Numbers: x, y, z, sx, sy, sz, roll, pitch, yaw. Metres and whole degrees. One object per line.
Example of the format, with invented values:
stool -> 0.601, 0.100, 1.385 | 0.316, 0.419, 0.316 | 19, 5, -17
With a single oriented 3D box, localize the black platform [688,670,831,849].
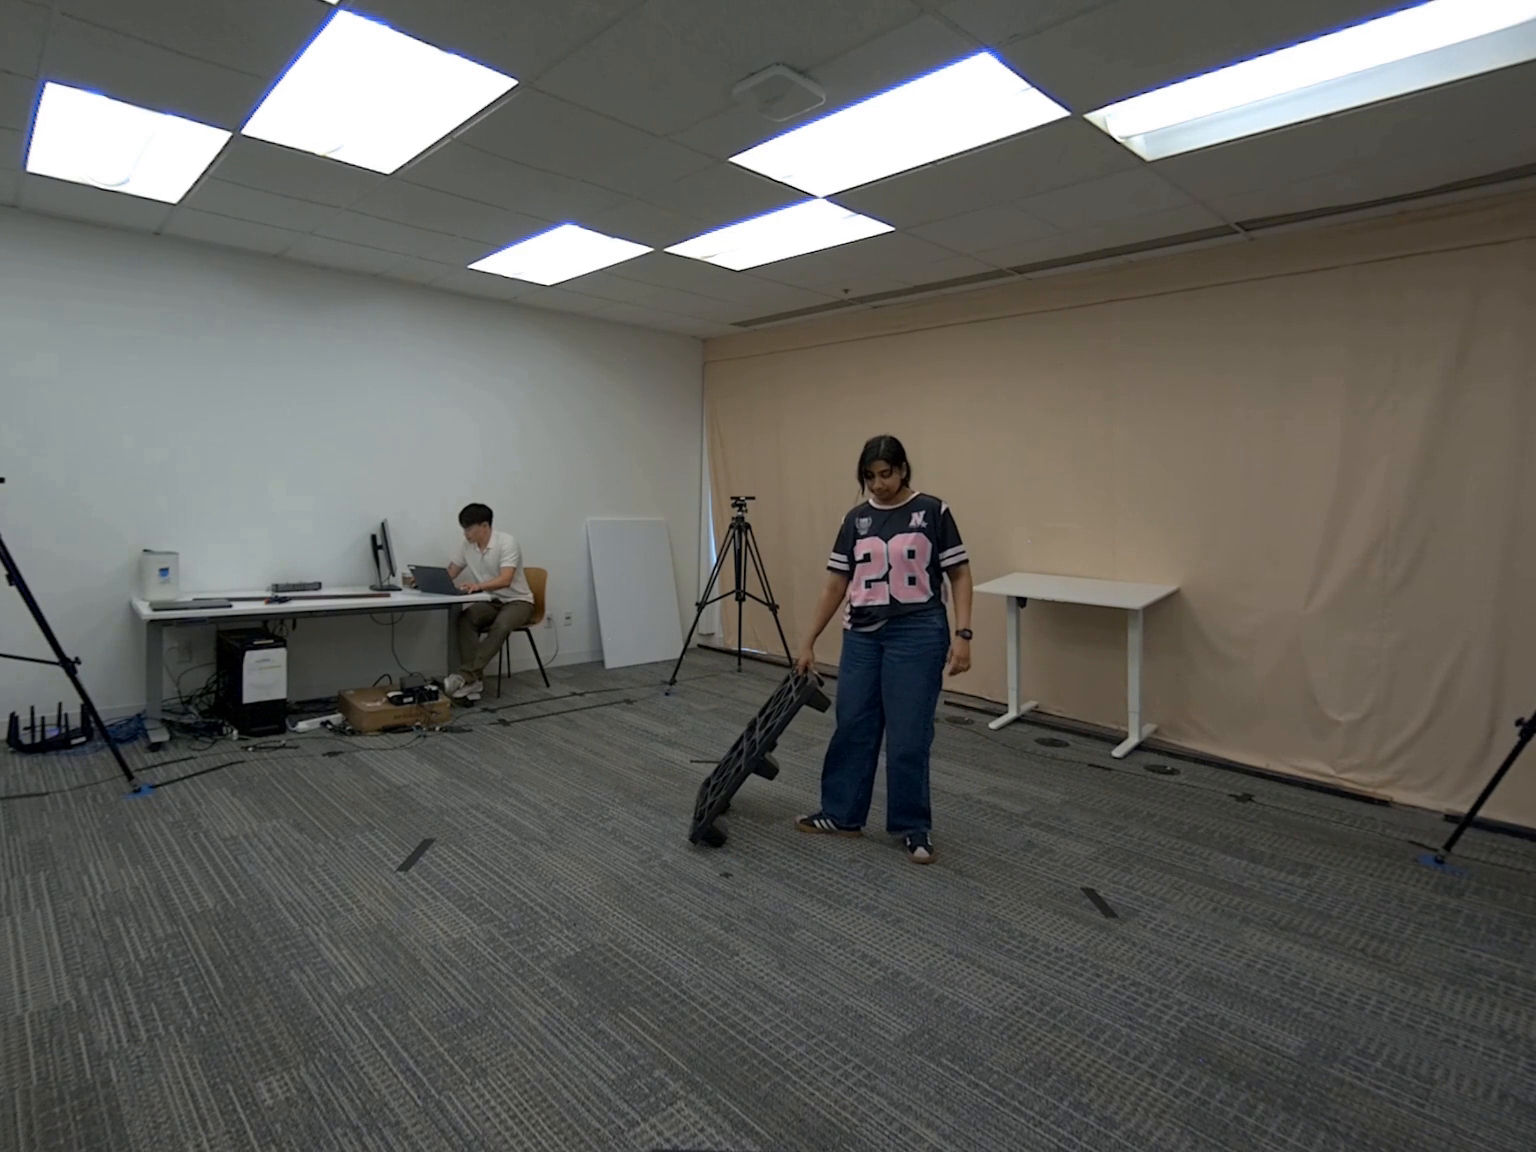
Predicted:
black platform -> -0.034, 0.731, 3.558 | 0.143, 0.805, 0.606 | 36, 3, -3
